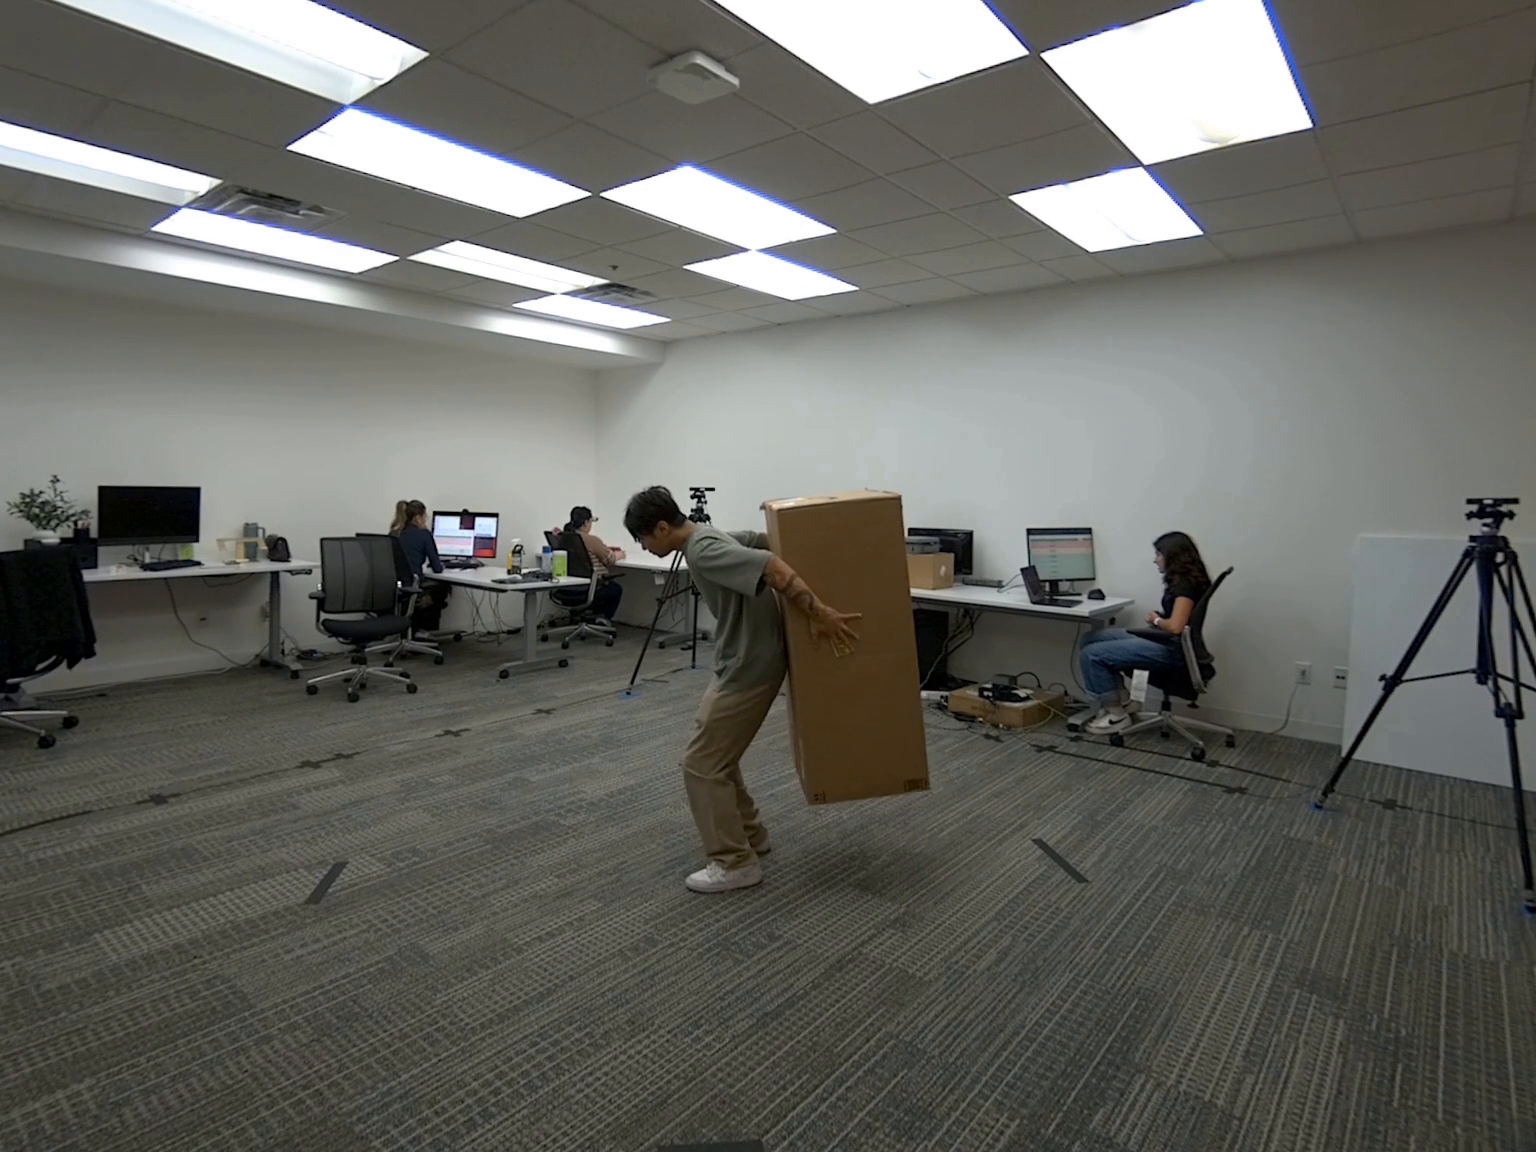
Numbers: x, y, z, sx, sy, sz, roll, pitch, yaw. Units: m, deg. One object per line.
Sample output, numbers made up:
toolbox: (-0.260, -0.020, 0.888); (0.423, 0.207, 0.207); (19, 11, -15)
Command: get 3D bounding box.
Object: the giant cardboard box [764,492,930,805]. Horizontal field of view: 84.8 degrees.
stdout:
giant cardboard box: (0.262, 0.225, 3.144); (0.425, 1.020, 0.583); (-7, 6, -4)
